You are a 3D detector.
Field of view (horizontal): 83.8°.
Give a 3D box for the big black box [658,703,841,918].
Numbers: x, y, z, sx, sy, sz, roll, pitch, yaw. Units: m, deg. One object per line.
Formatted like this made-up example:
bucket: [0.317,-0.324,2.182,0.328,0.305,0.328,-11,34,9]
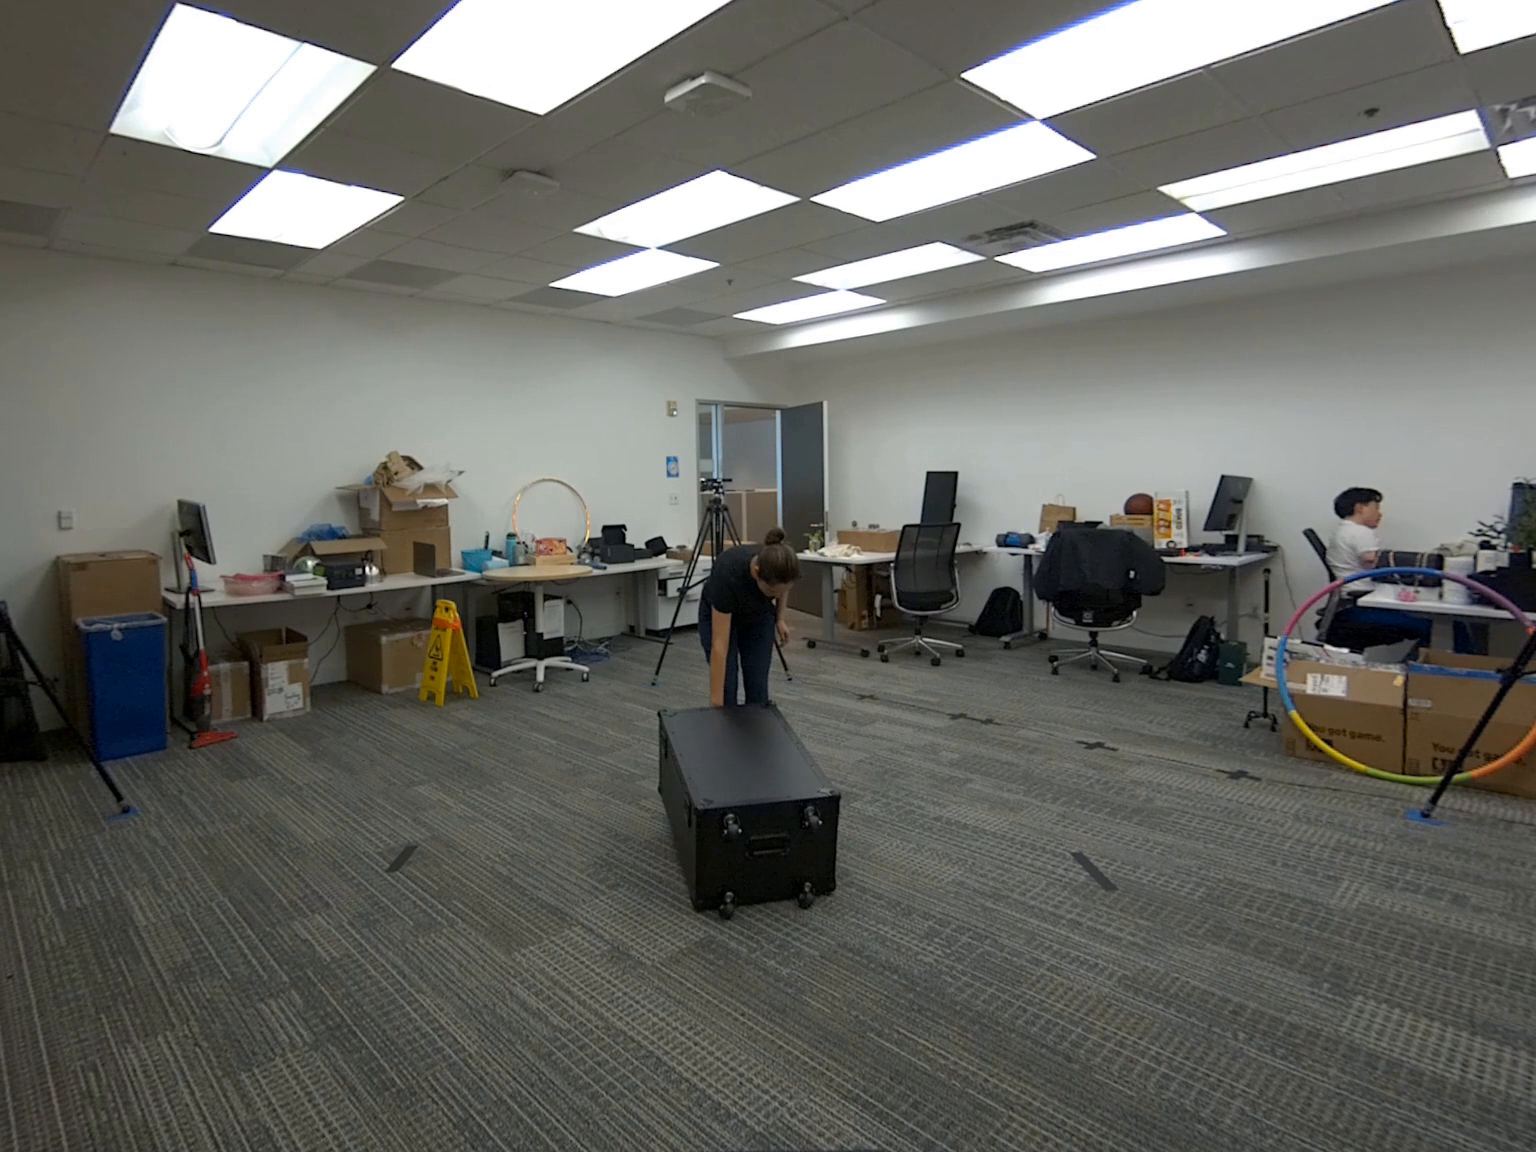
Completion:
big black box: [-0.103,0.815,3.126,0.514,0.392,0.883,-3,14,-15]
